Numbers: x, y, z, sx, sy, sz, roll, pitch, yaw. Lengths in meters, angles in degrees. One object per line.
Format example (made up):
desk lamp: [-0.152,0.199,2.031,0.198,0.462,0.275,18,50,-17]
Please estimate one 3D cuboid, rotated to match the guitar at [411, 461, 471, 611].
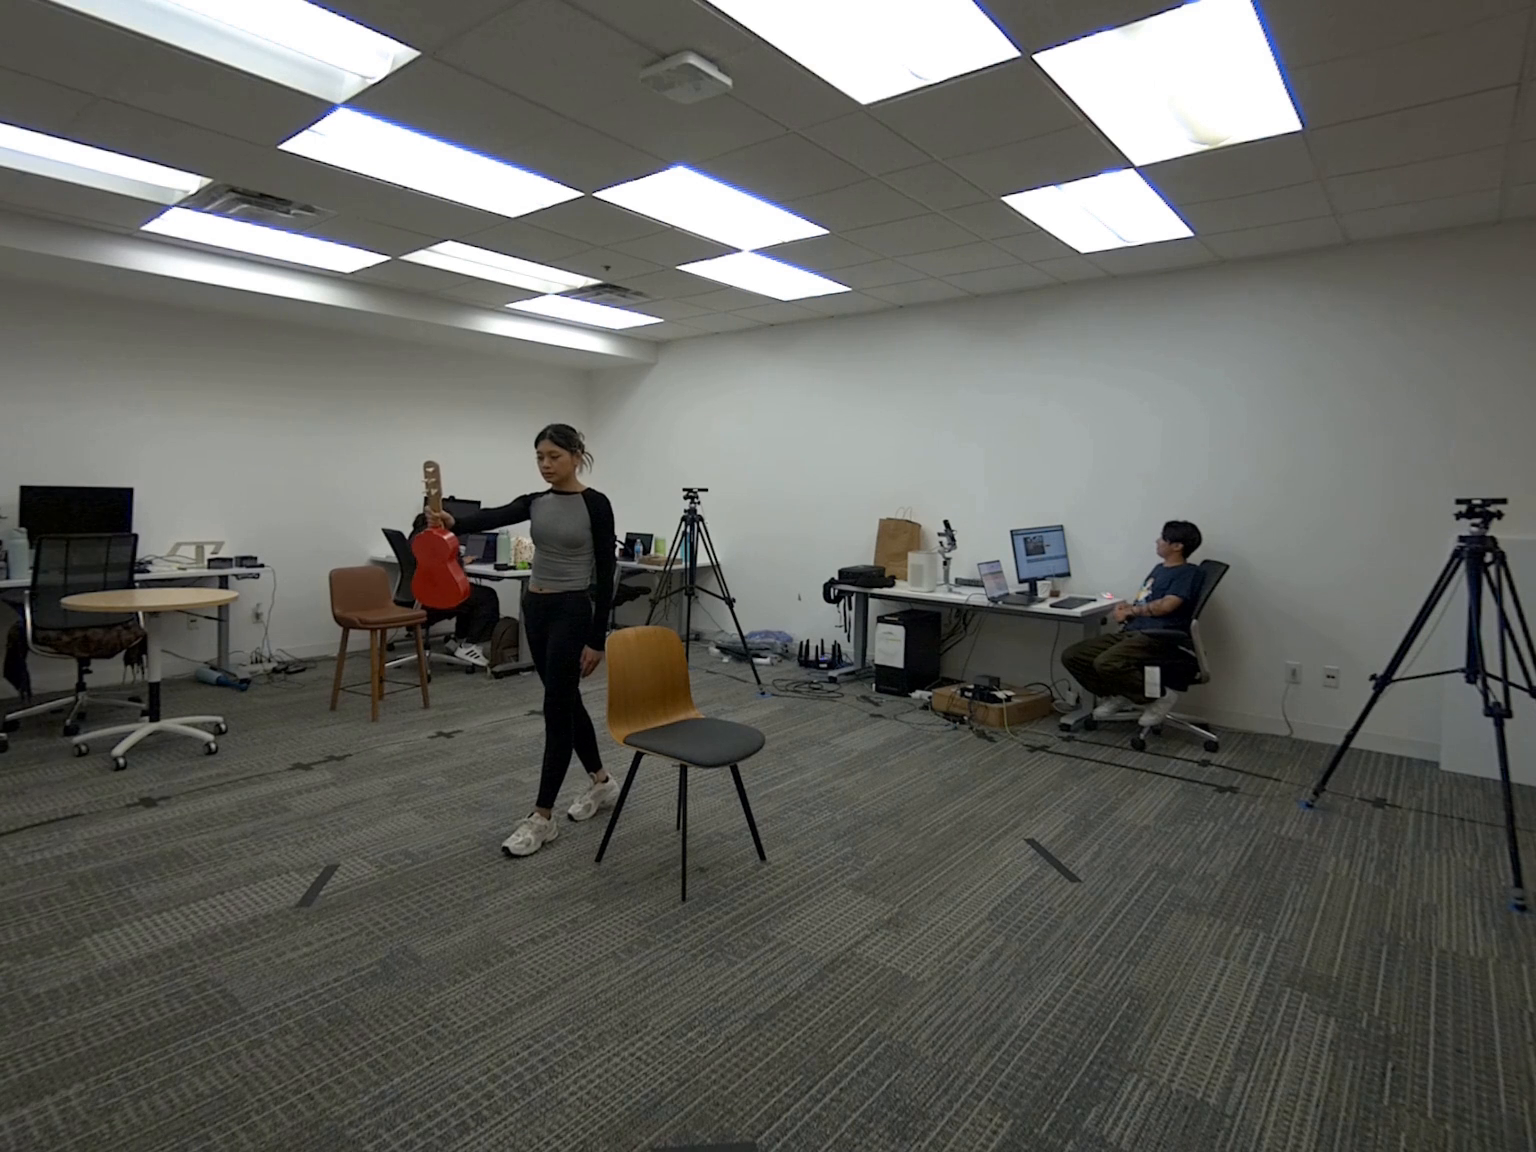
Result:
guitar: [-1.160,-0.135,2.879,0.196,0.490,0.070,-6,14,18]
